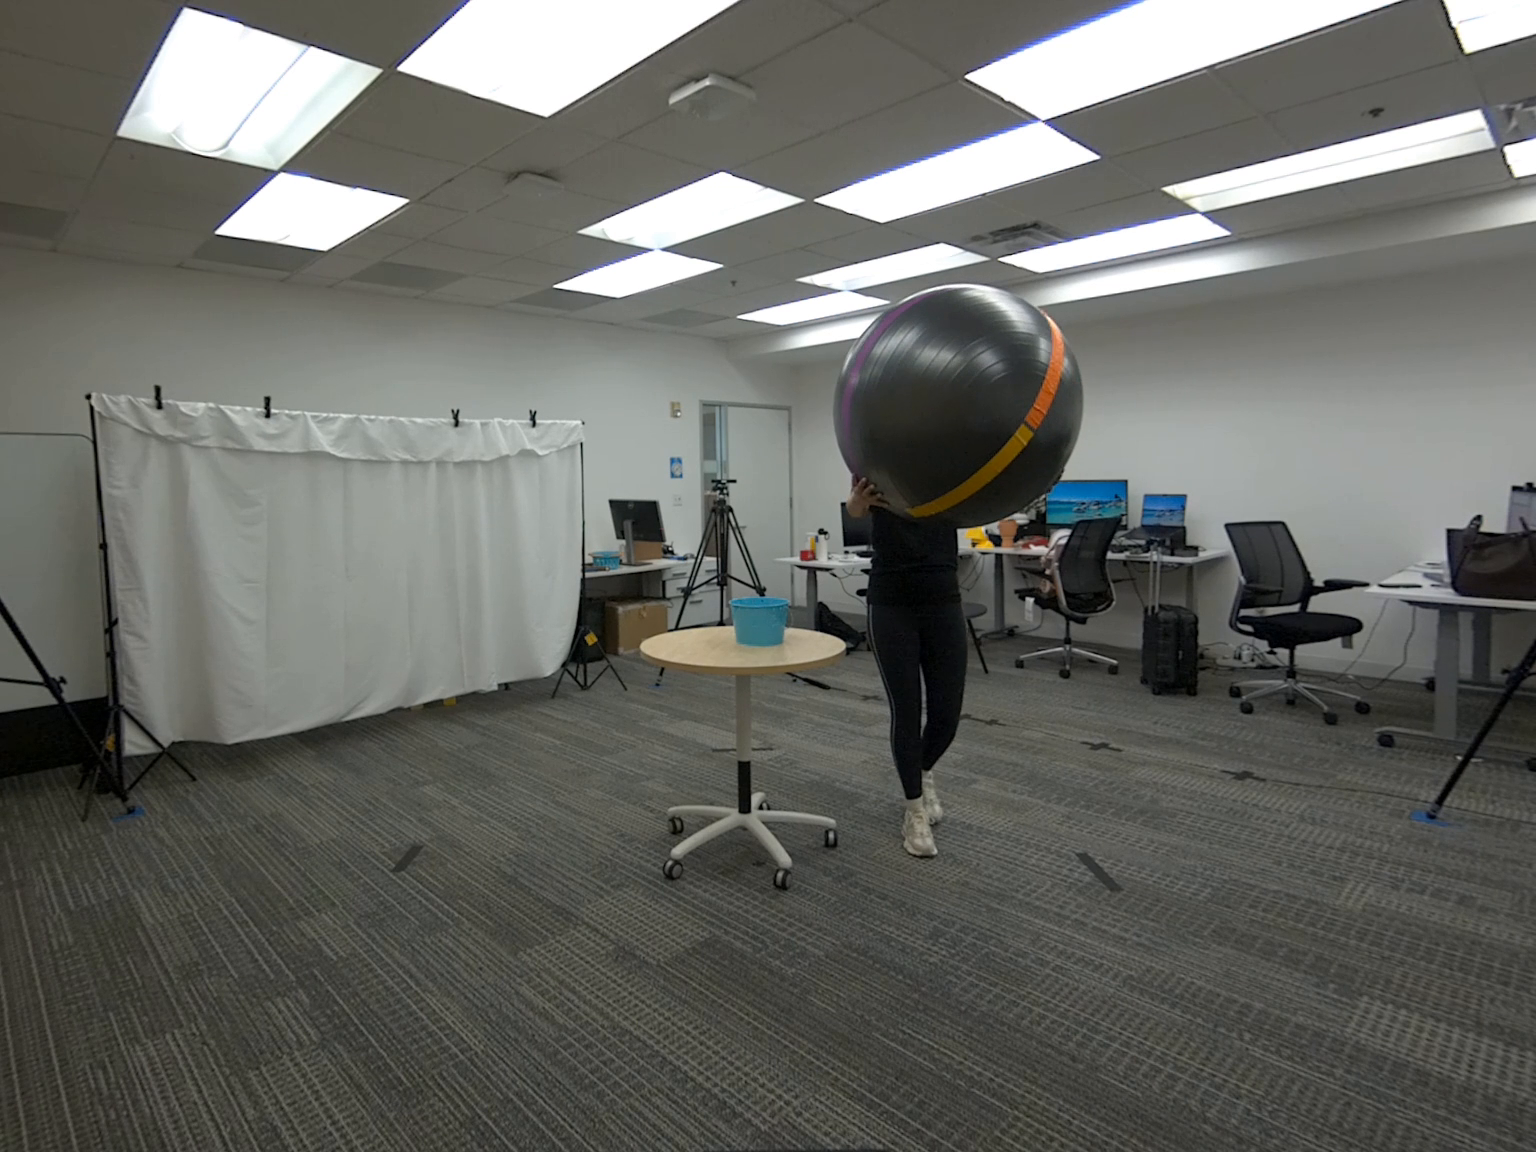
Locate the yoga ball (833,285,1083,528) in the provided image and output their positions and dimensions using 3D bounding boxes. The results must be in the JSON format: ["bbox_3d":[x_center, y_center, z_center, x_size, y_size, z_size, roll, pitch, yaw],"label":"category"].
[{"bbox_3d":[0.593,-0.520,2.697,0.757,0.755,0.762,-1,5,-2],"label":"yoga ball"}]
